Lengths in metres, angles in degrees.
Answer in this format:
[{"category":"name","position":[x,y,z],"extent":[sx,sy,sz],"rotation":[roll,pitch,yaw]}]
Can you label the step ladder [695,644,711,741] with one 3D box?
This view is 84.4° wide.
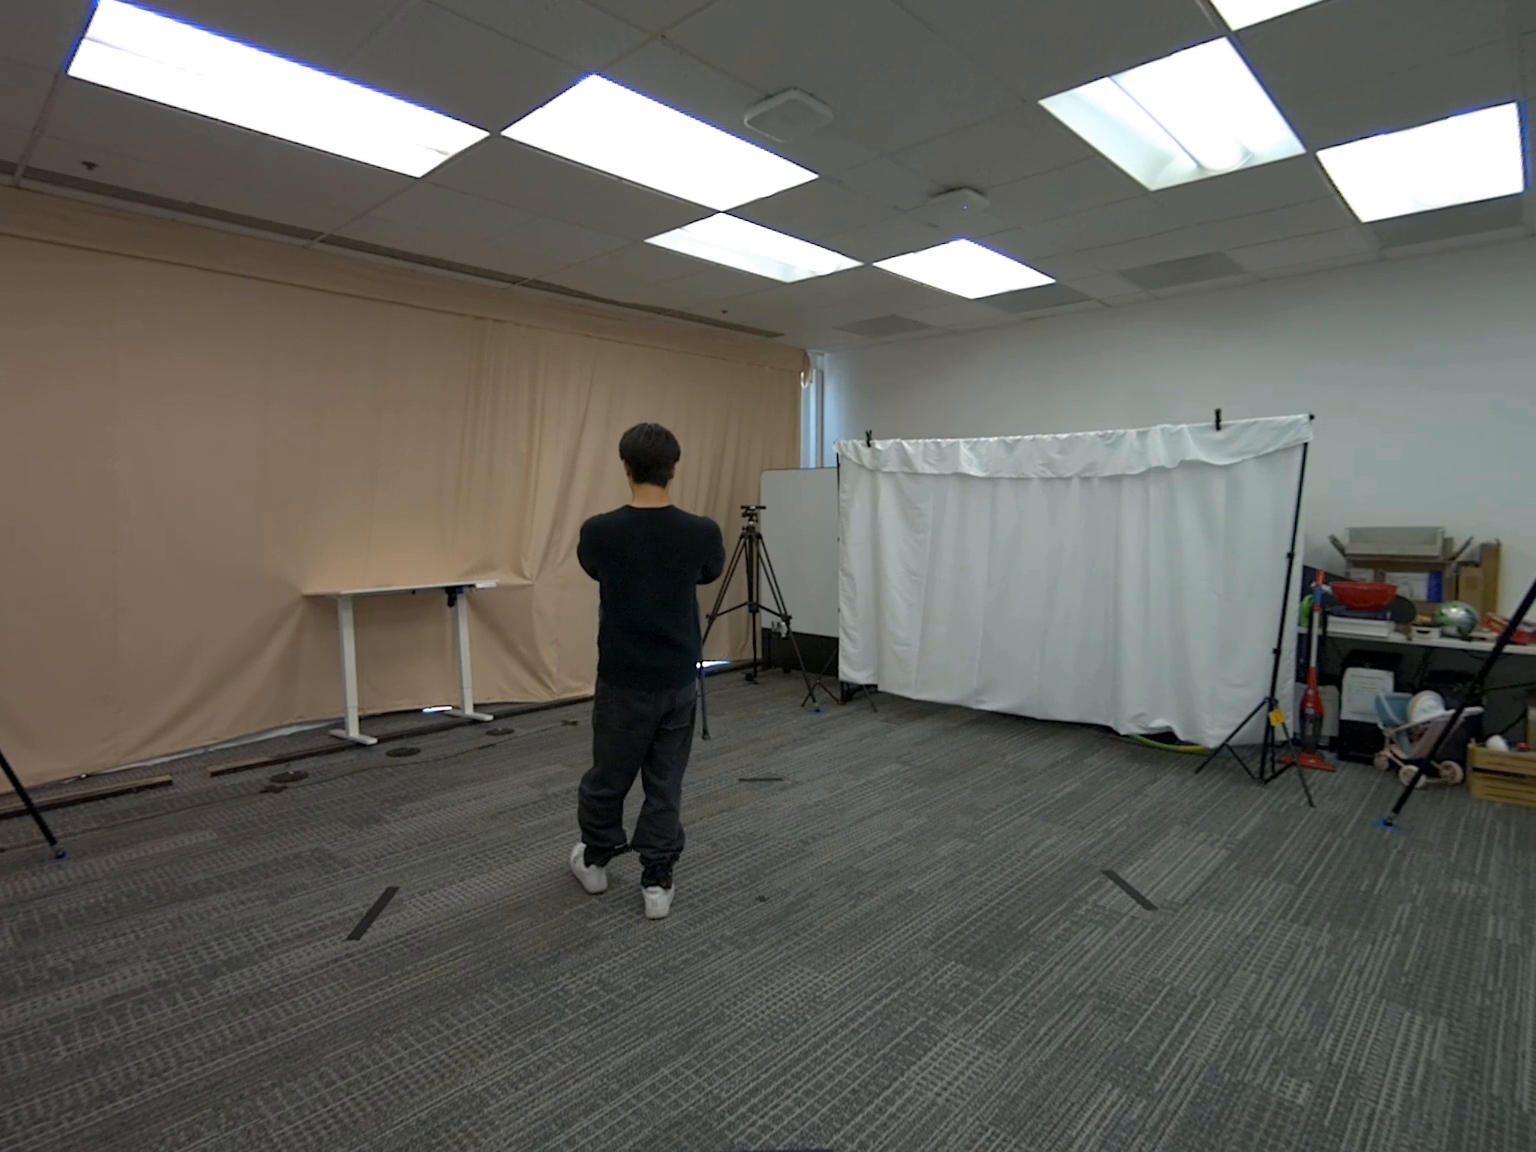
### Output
[{"category":"step ladder","position":[-0.464,0.315,3.349],"extent":[0.425,0.602,0.356],"rotation":[-1,12,-13]}]
